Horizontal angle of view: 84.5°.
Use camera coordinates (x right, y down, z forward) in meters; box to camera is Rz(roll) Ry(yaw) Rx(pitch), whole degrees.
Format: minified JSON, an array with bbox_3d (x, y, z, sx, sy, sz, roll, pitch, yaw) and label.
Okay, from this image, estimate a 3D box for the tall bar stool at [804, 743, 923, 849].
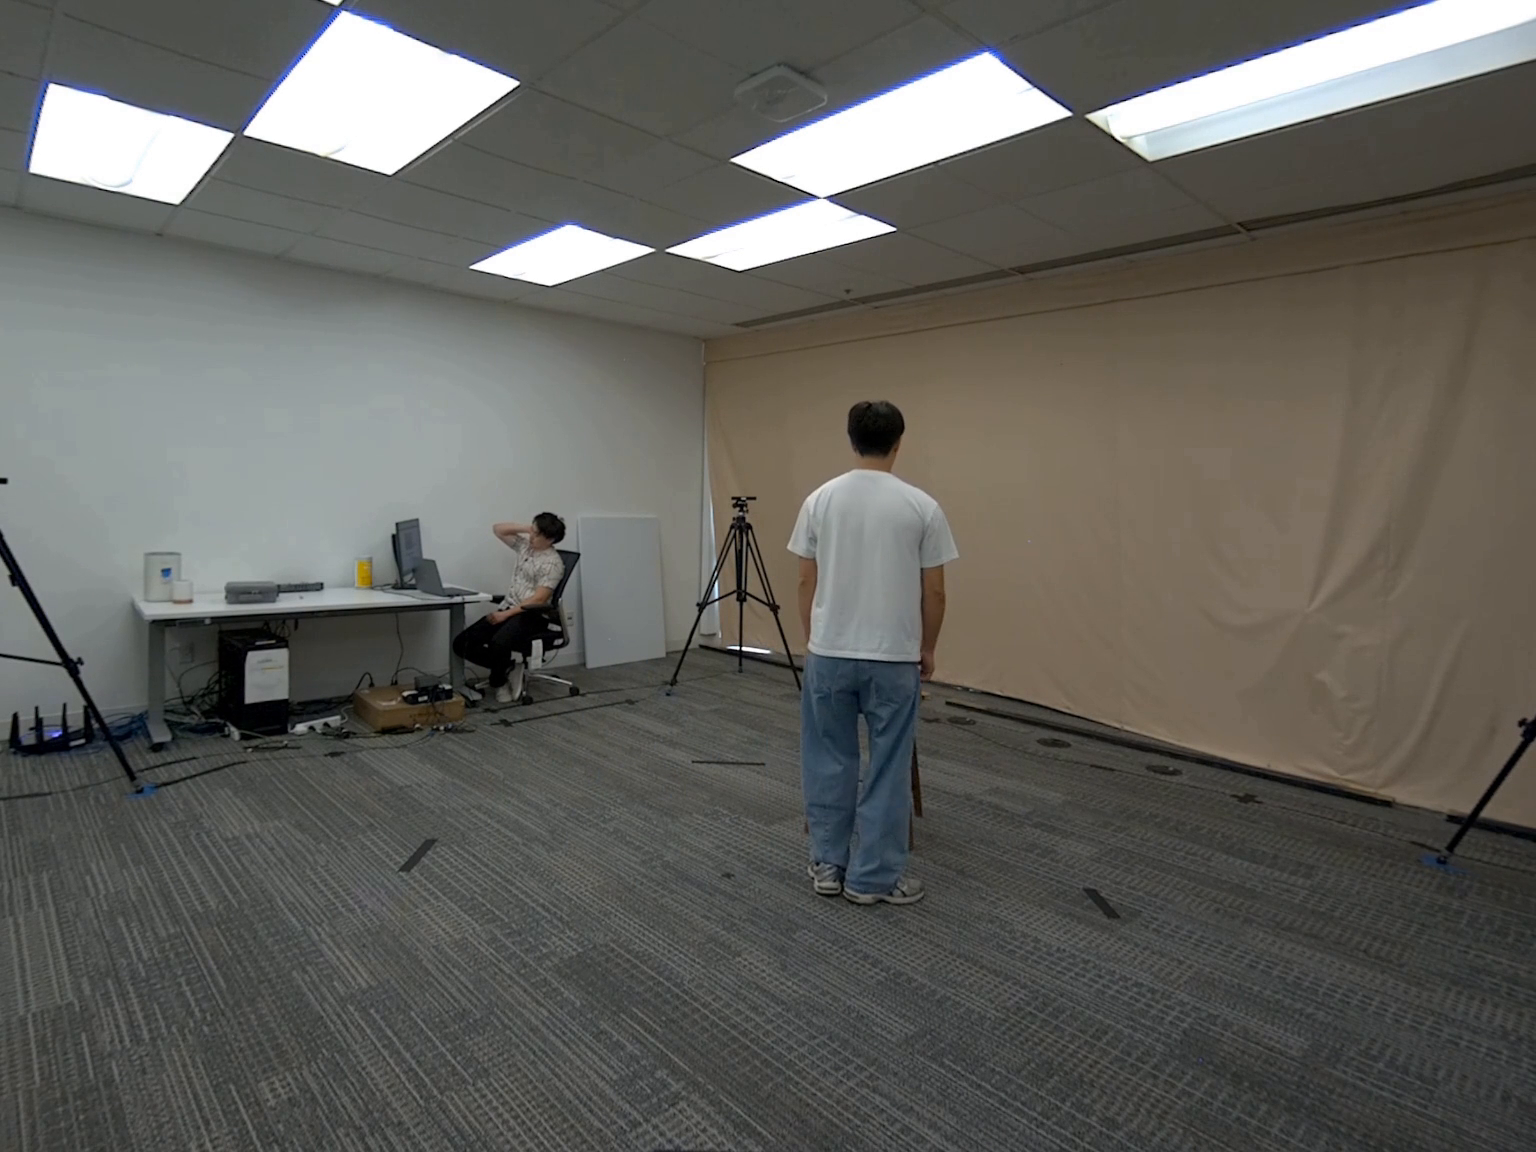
[{"bbox_3d":[0.423,0.645,3.617,0.474,0.889,0.450,1,2,18],"label":"tall bar stool"}]
